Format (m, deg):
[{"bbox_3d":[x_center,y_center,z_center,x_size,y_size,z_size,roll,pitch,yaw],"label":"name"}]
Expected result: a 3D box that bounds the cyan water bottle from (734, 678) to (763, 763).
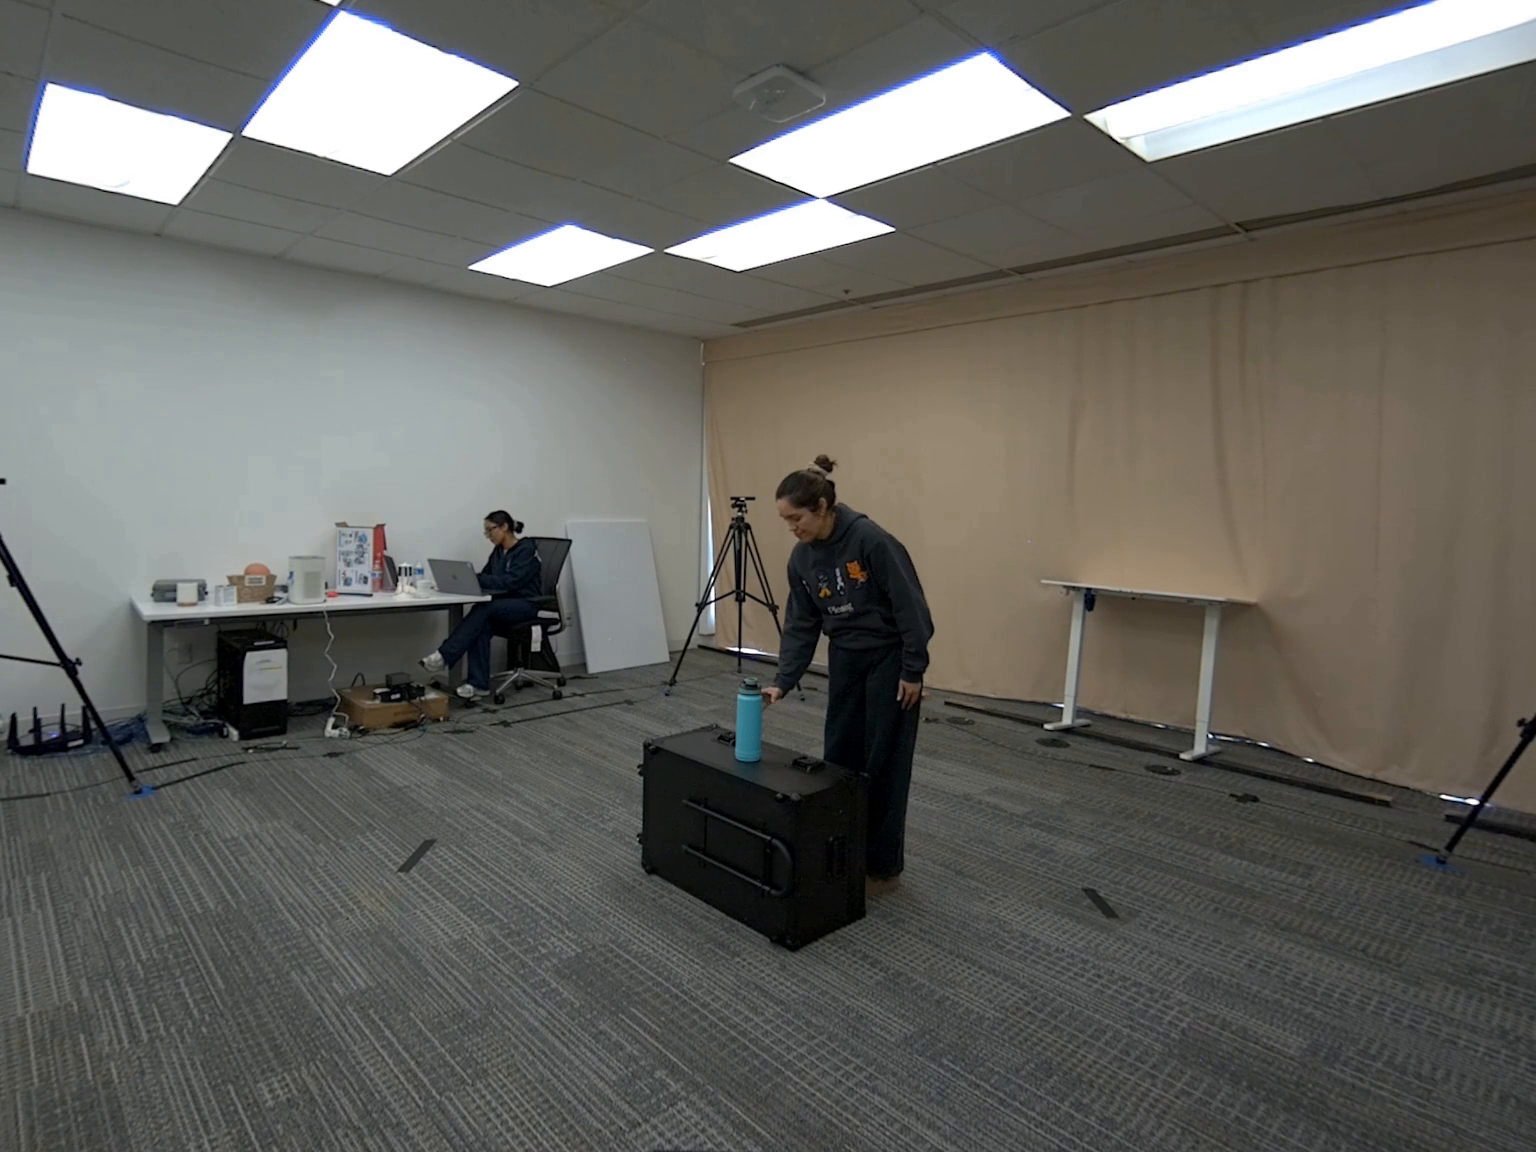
[{"bbox_3d":[-0.073,0.497,2.960,0.092,0.283,0.092,1,3,-1],"label":"cyan water bottle"}]
